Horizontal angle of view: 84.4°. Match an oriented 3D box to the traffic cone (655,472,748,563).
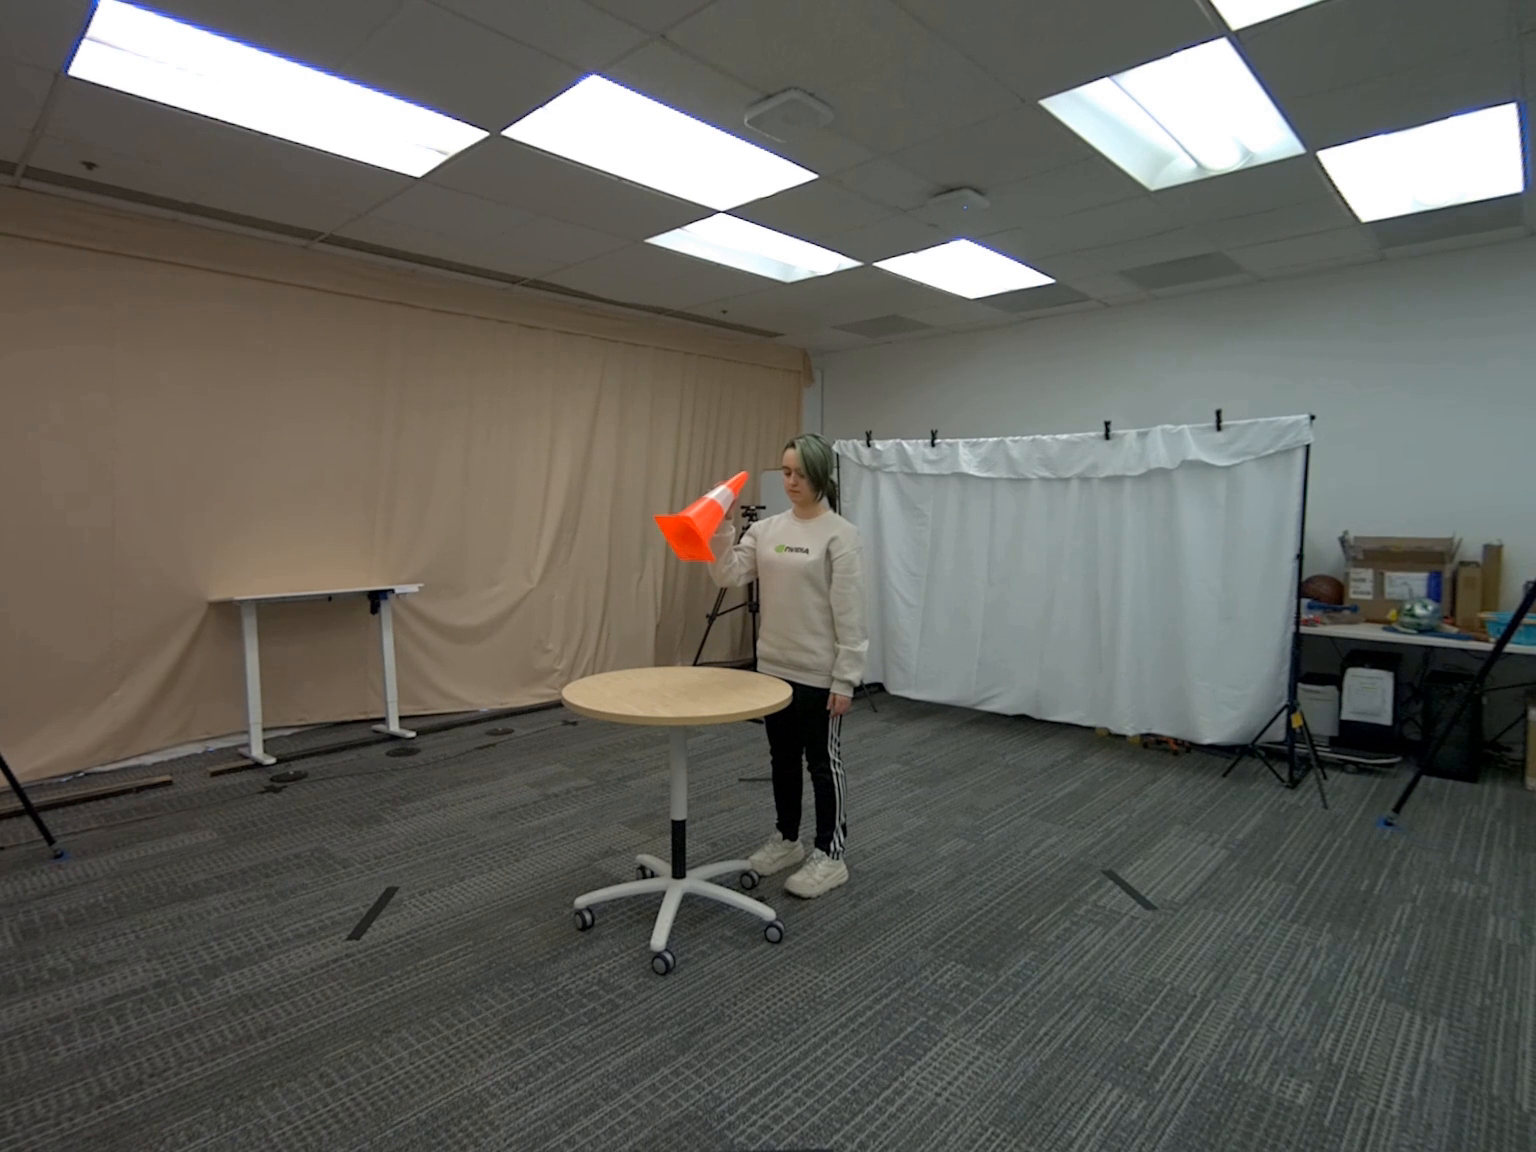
[{"bbox_3d":[-0.184,-0.249,2.990,0.212,0.198,0.381,6,44,43],"label":"traffic cone"}]
